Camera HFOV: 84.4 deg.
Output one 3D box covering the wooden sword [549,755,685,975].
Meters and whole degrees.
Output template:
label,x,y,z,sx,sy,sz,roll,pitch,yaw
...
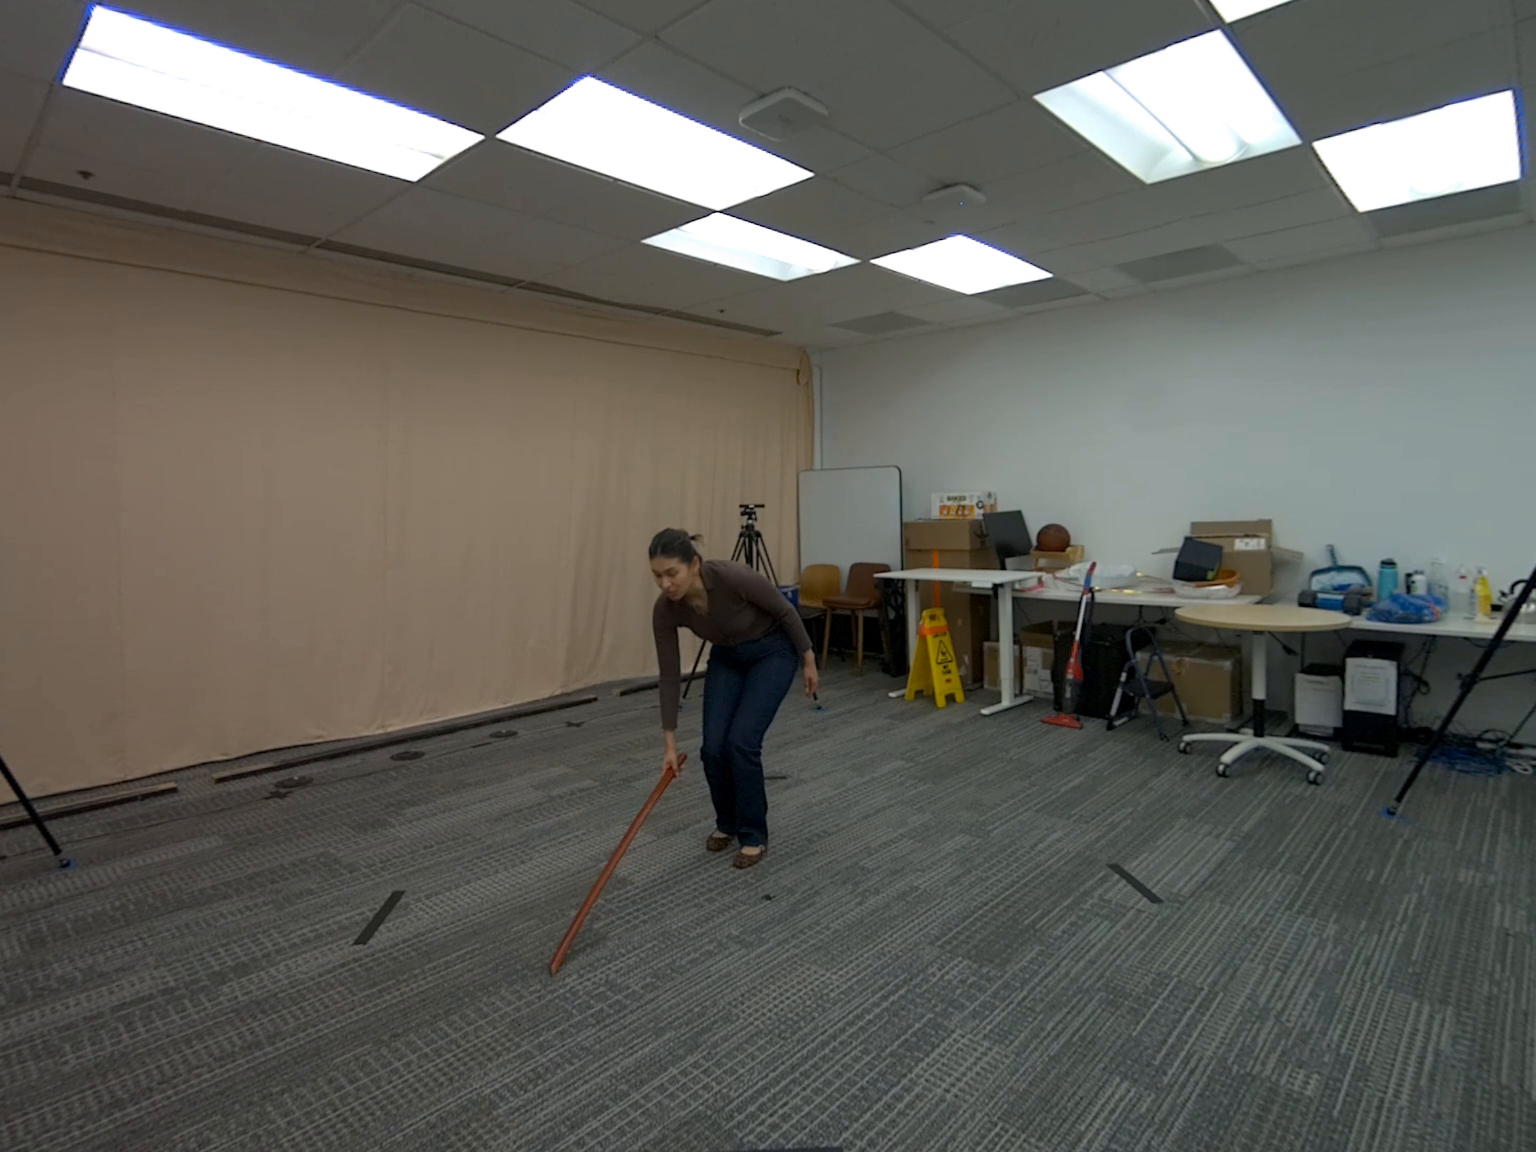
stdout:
label,x,y,z,sx,sy,sz,roll,pitch,yaw
wooden sword,-0.502,0.954,2.942,0.024,0.051,1.021,-35,11,30
